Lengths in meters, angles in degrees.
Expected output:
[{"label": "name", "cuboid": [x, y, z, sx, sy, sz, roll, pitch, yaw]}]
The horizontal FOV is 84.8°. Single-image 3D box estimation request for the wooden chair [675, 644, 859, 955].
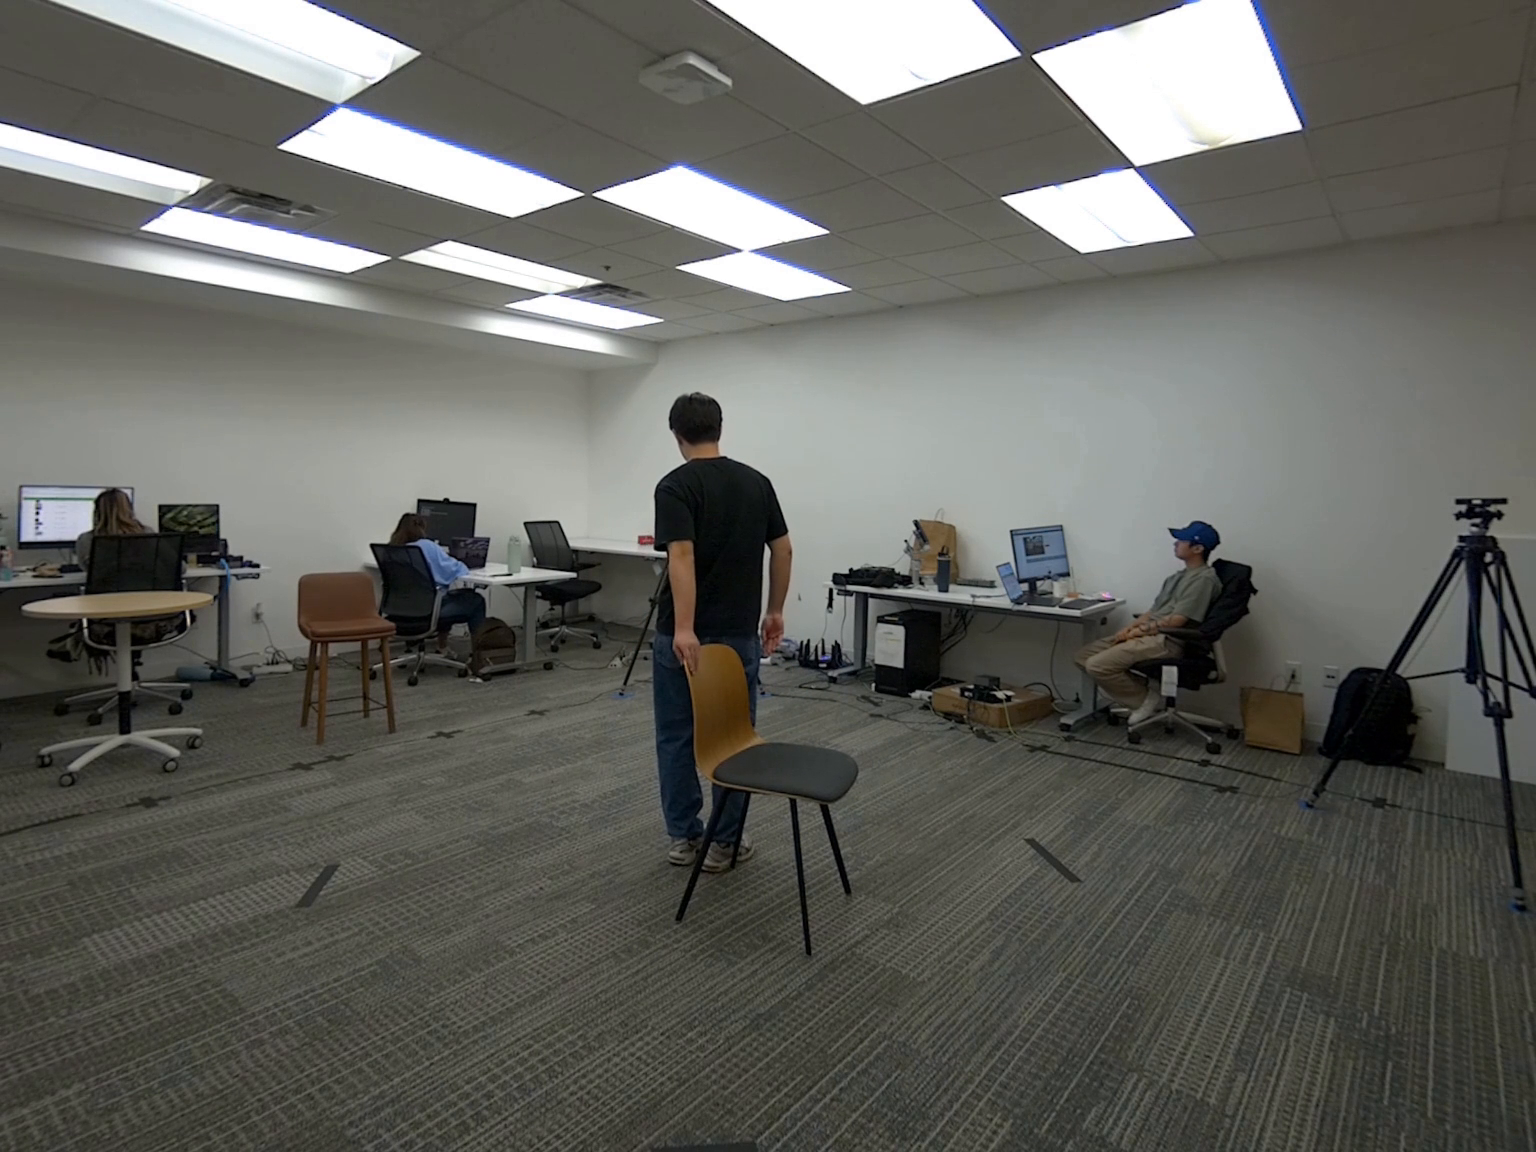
[{"label": "wooden chair", "cuboid": [0.012, 0.673, 2.809, 0.535, 0.876, 0.468, -2, 1, 23]}]
